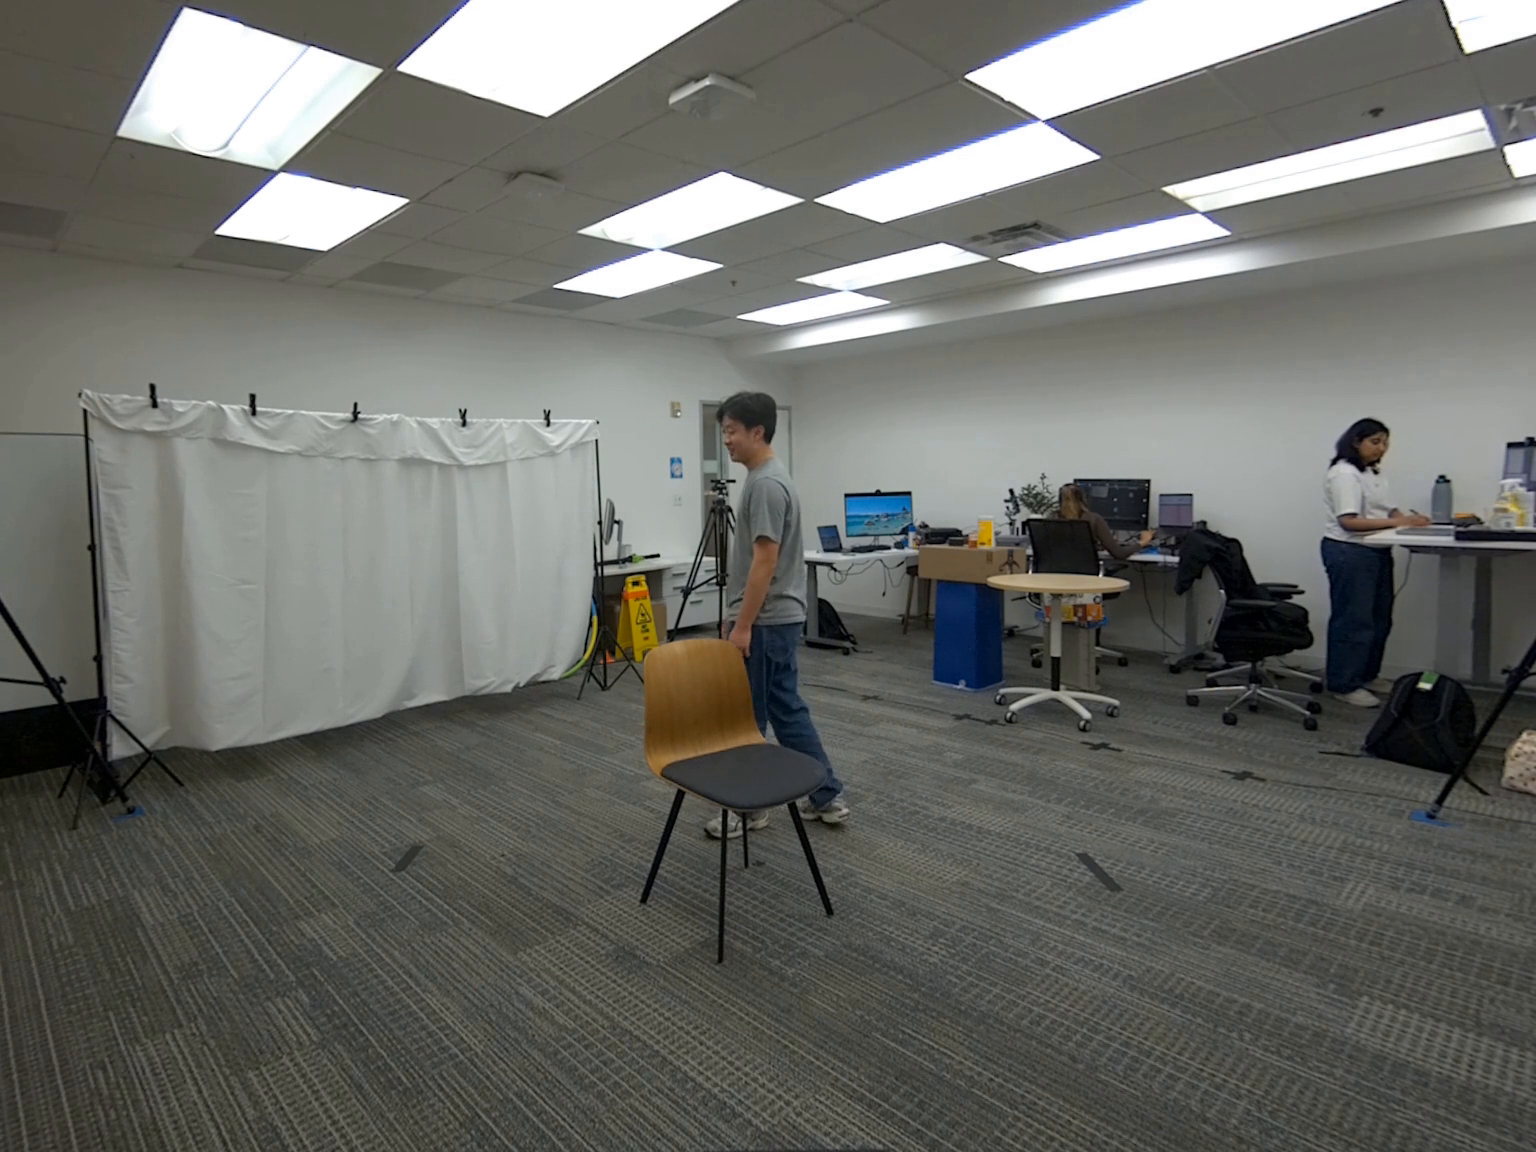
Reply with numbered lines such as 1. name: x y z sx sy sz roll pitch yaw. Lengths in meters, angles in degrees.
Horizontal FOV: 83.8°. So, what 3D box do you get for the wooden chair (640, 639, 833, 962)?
1. wooden chair: -0.110 0.666 2.739 0.466 0.877 0.537 -4 1 -38
